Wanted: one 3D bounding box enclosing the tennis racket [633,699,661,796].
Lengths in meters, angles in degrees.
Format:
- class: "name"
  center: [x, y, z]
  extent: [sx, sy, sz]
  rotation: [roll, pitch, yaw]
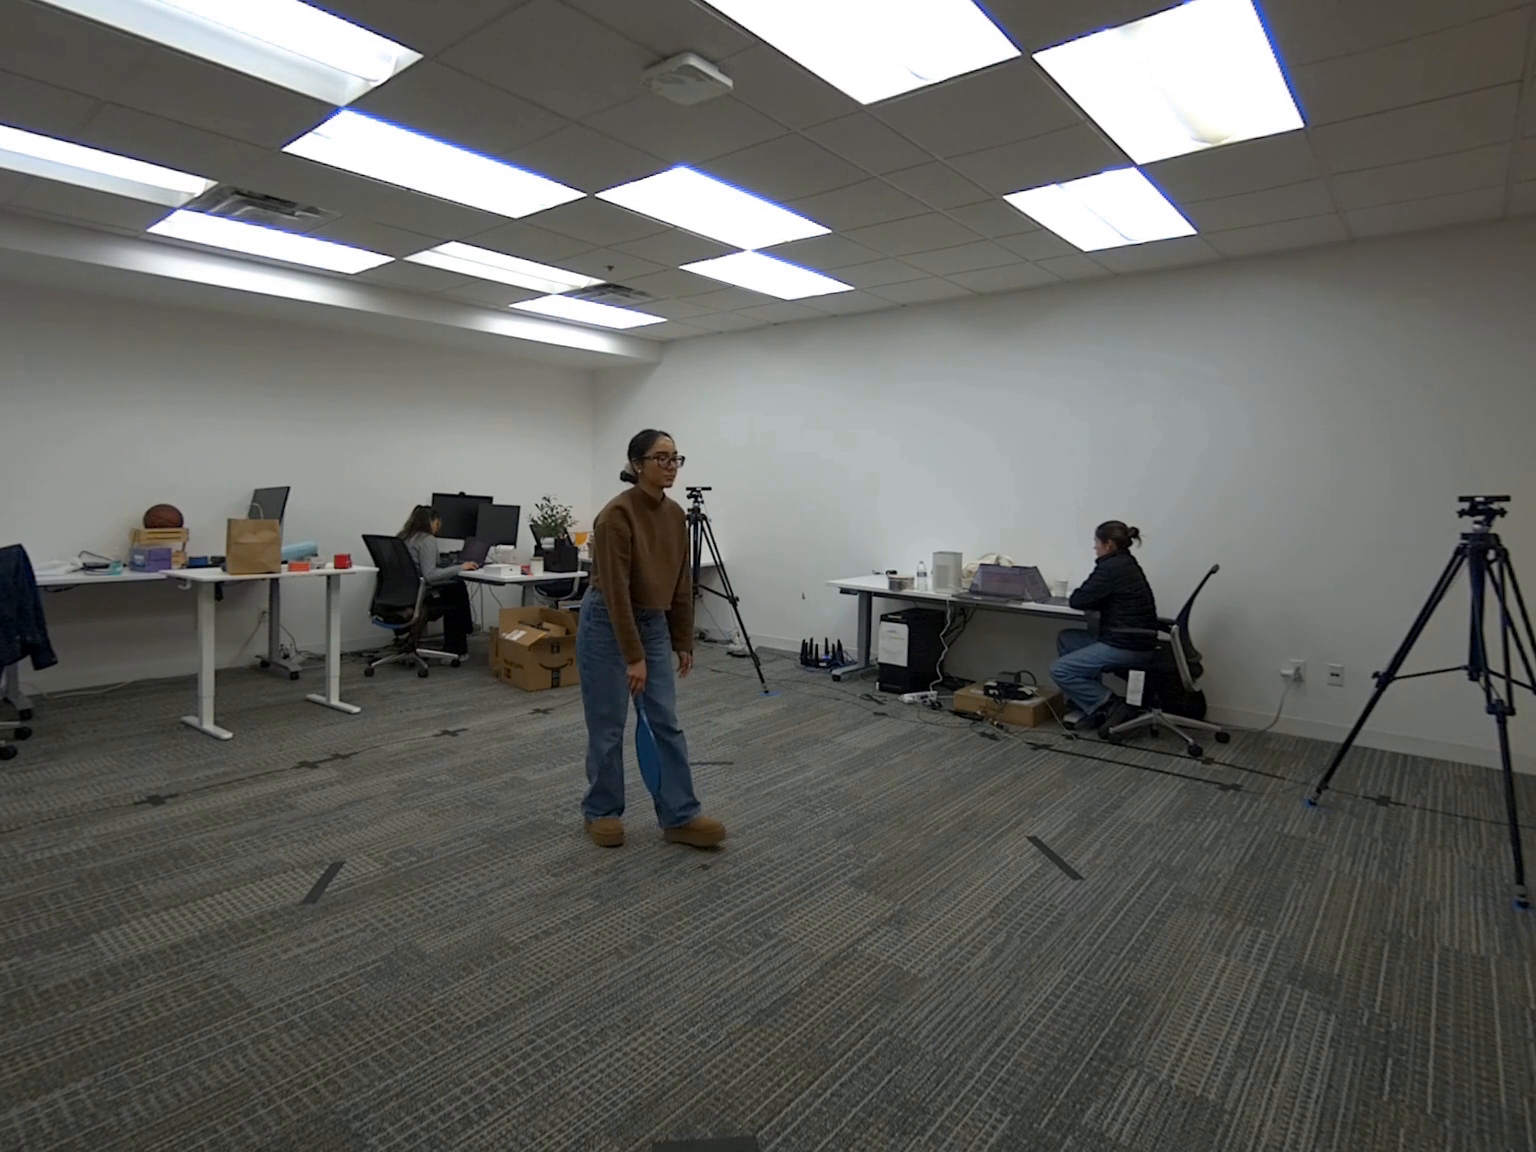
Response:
- class: "tennis racket"
  center: [-0.464, 0.574, 3.109]
  extent: [0.031, 0.437, 0.216]
  rotation: [-6, -9, -23]
